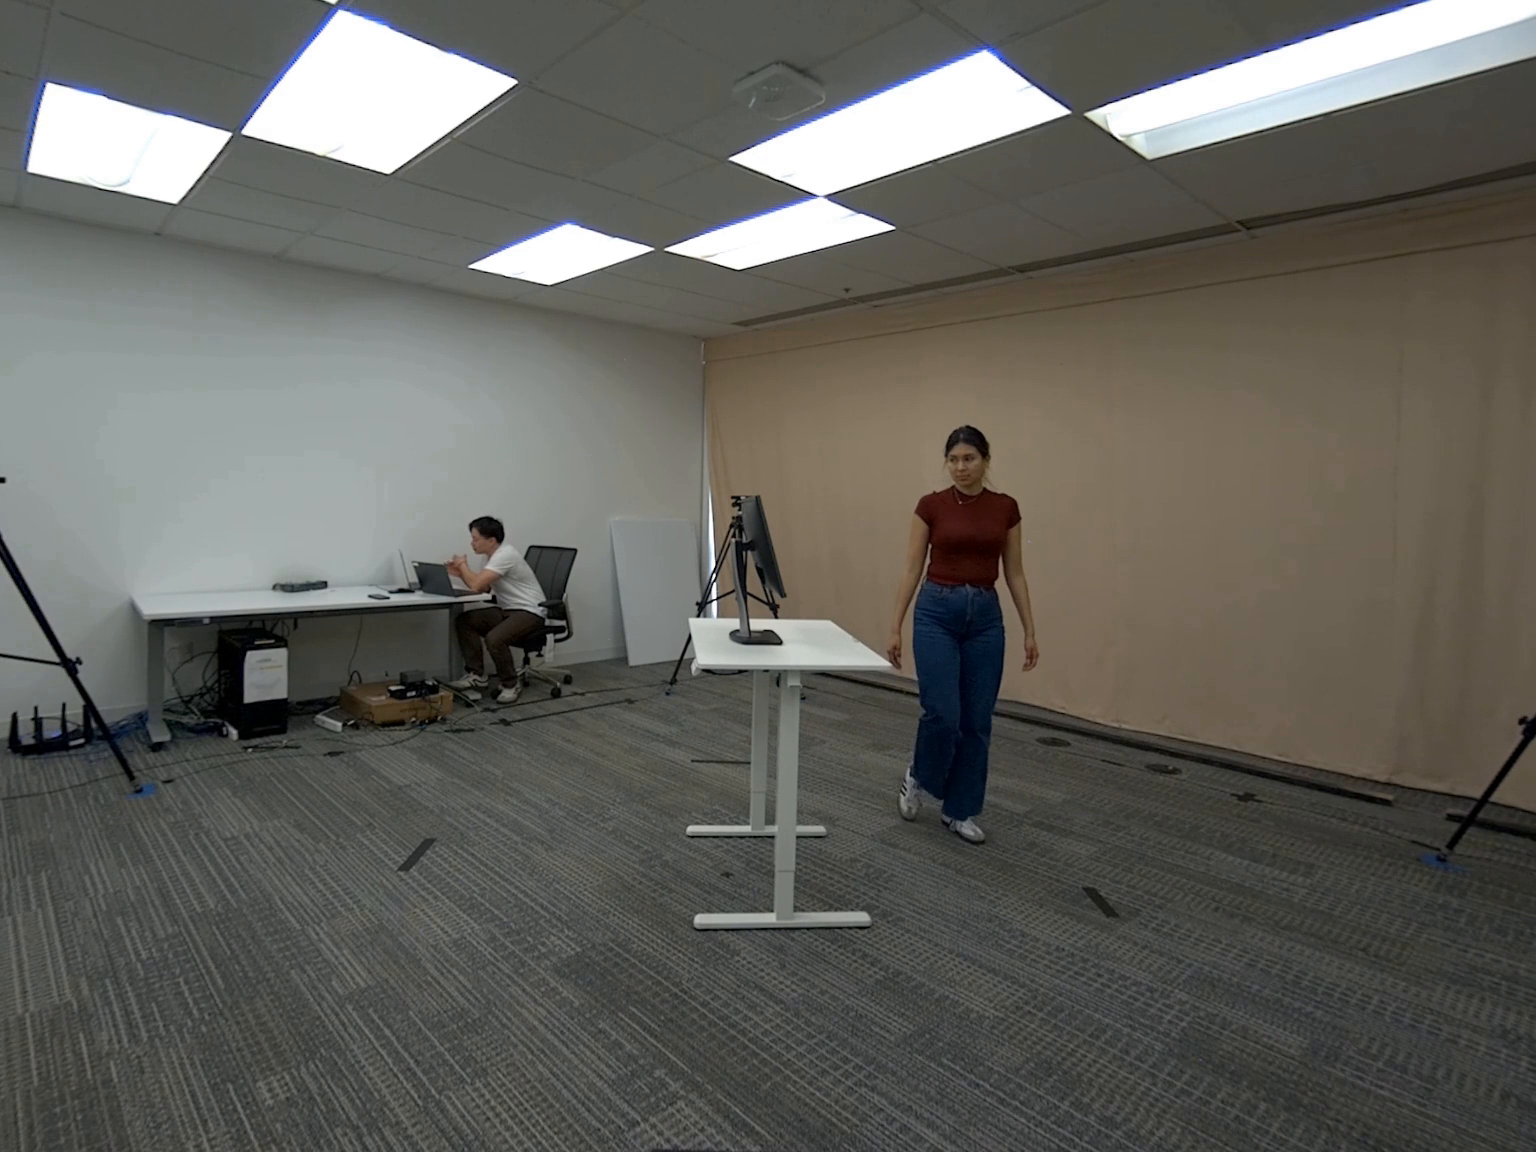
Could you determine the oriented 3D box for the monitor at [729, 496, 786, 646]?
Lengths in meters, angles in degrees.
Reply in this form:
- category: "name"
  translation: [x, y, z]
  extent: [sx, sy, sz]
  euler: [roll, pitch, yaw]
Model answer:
- category: "monitor"
  translation: [-0.058, -0.024, 3.035]
  extent: [0.186, 0.521, 0.544]
  euler: [-1, 4, -9]
